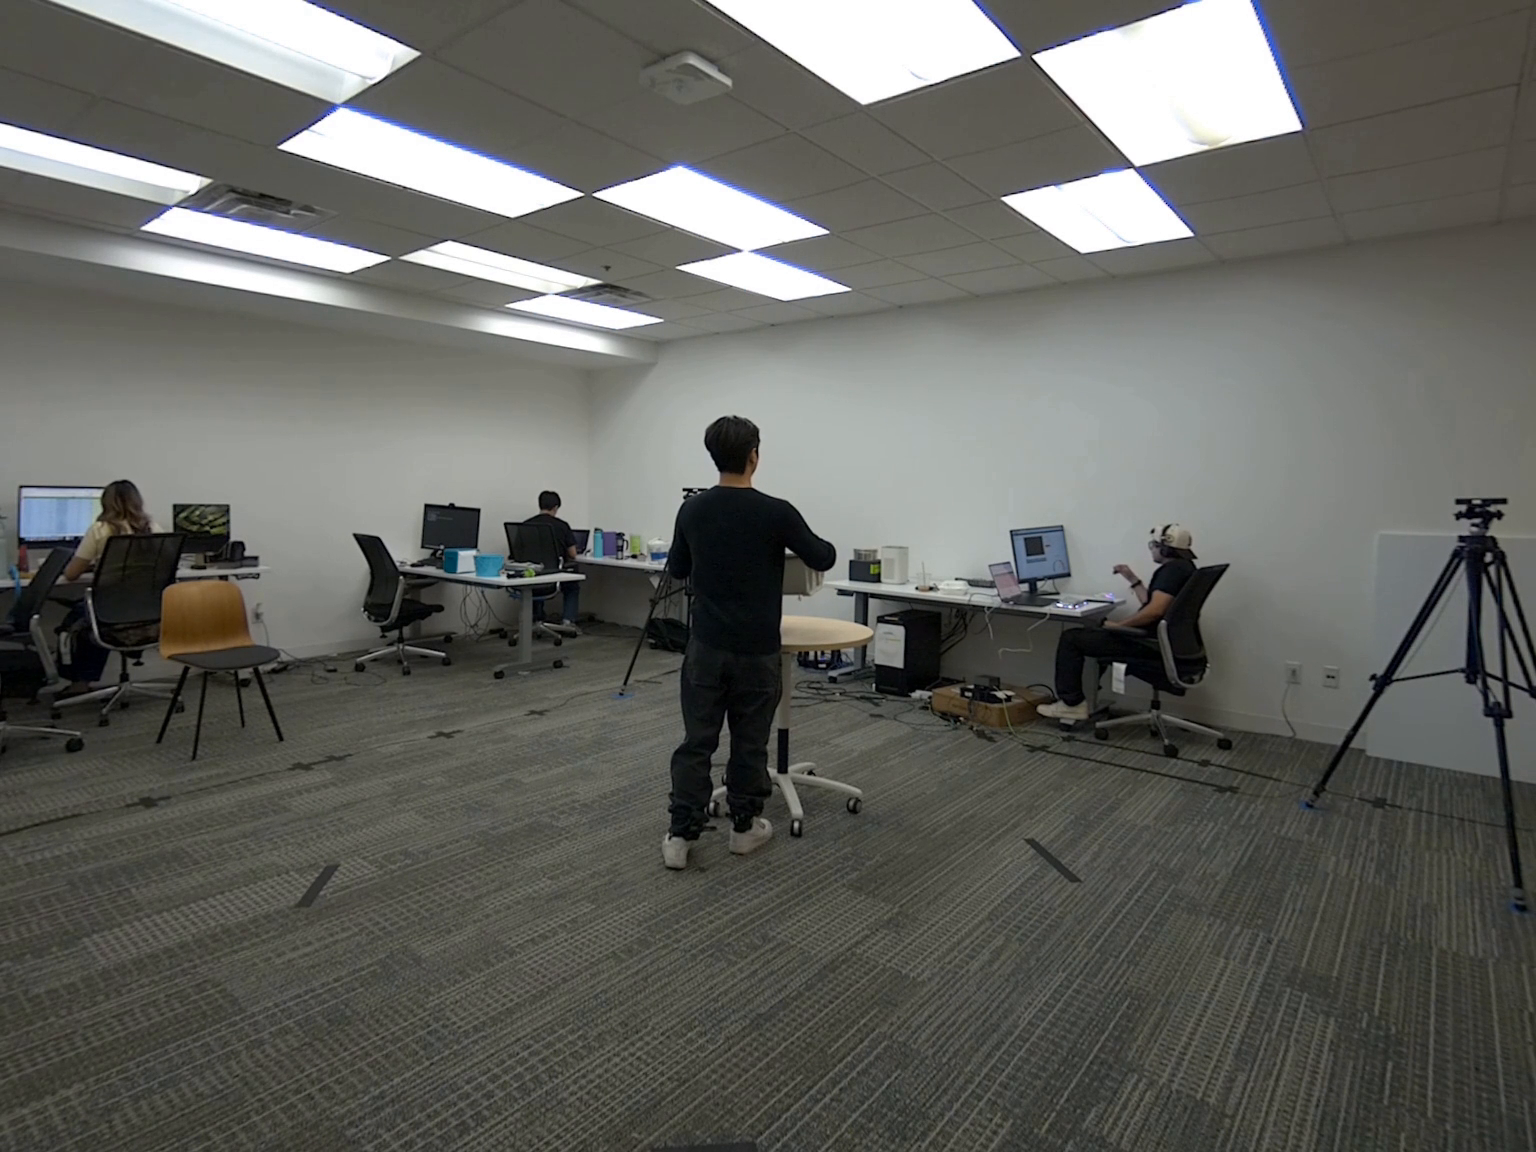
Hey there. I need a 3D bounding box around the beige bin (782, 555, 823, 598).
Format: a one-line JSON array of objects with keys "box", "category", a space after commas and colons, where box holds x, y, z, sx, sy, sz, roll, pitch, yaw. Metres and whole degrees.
[{"box": [0.001, -0.023, 3.680, 0.429, 0.188, 0.373, -1, 6, 15], "category": "beige bin"}]
